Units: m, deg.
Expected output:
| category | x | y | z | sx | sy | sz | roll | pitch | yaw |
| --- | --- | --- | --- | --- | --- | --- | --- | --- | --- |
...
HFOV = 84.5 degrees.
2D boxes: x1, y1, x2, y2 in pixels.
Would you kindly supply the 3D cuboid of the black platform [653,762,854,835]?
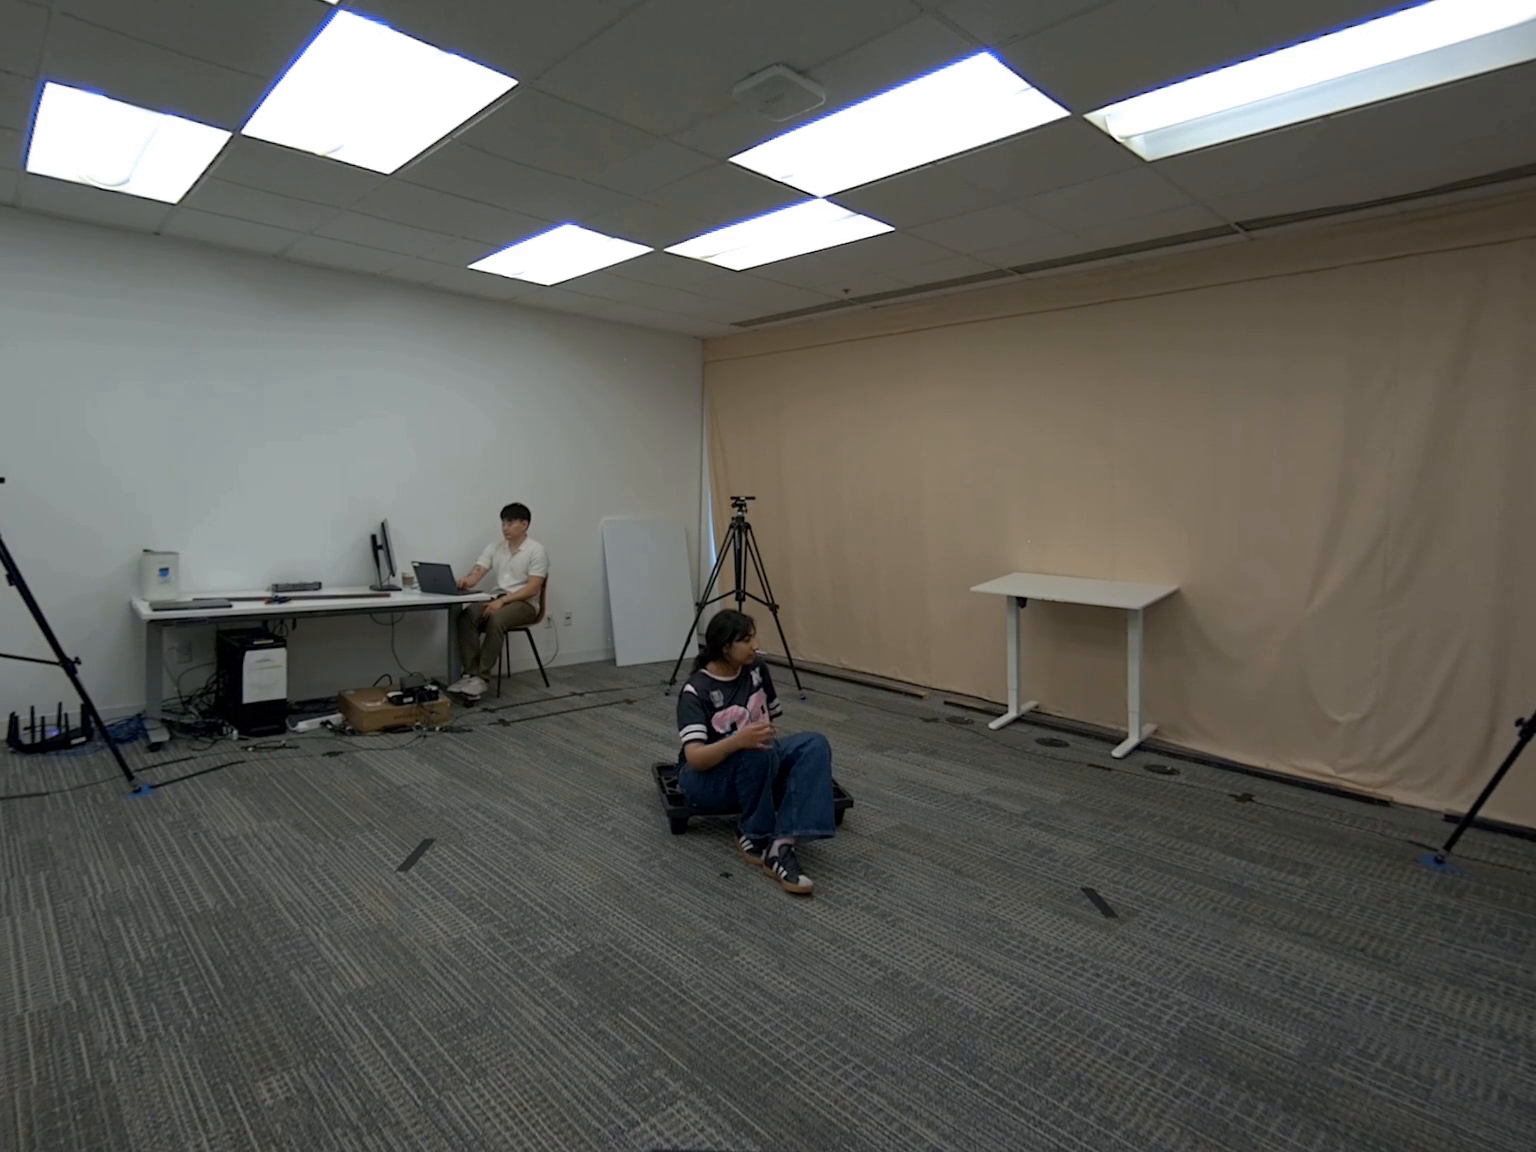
| category | x | y | z | sx | sy | sz | roll | pitch | yaw |
| --- | --- | --- | --- | --- | --- | --- | --- | --- | --- |
| black platform | -0.095 | 0.979 | 3.768 | 0.798 | 0.143 | 0.612 | 0 | 5 | -12 |
